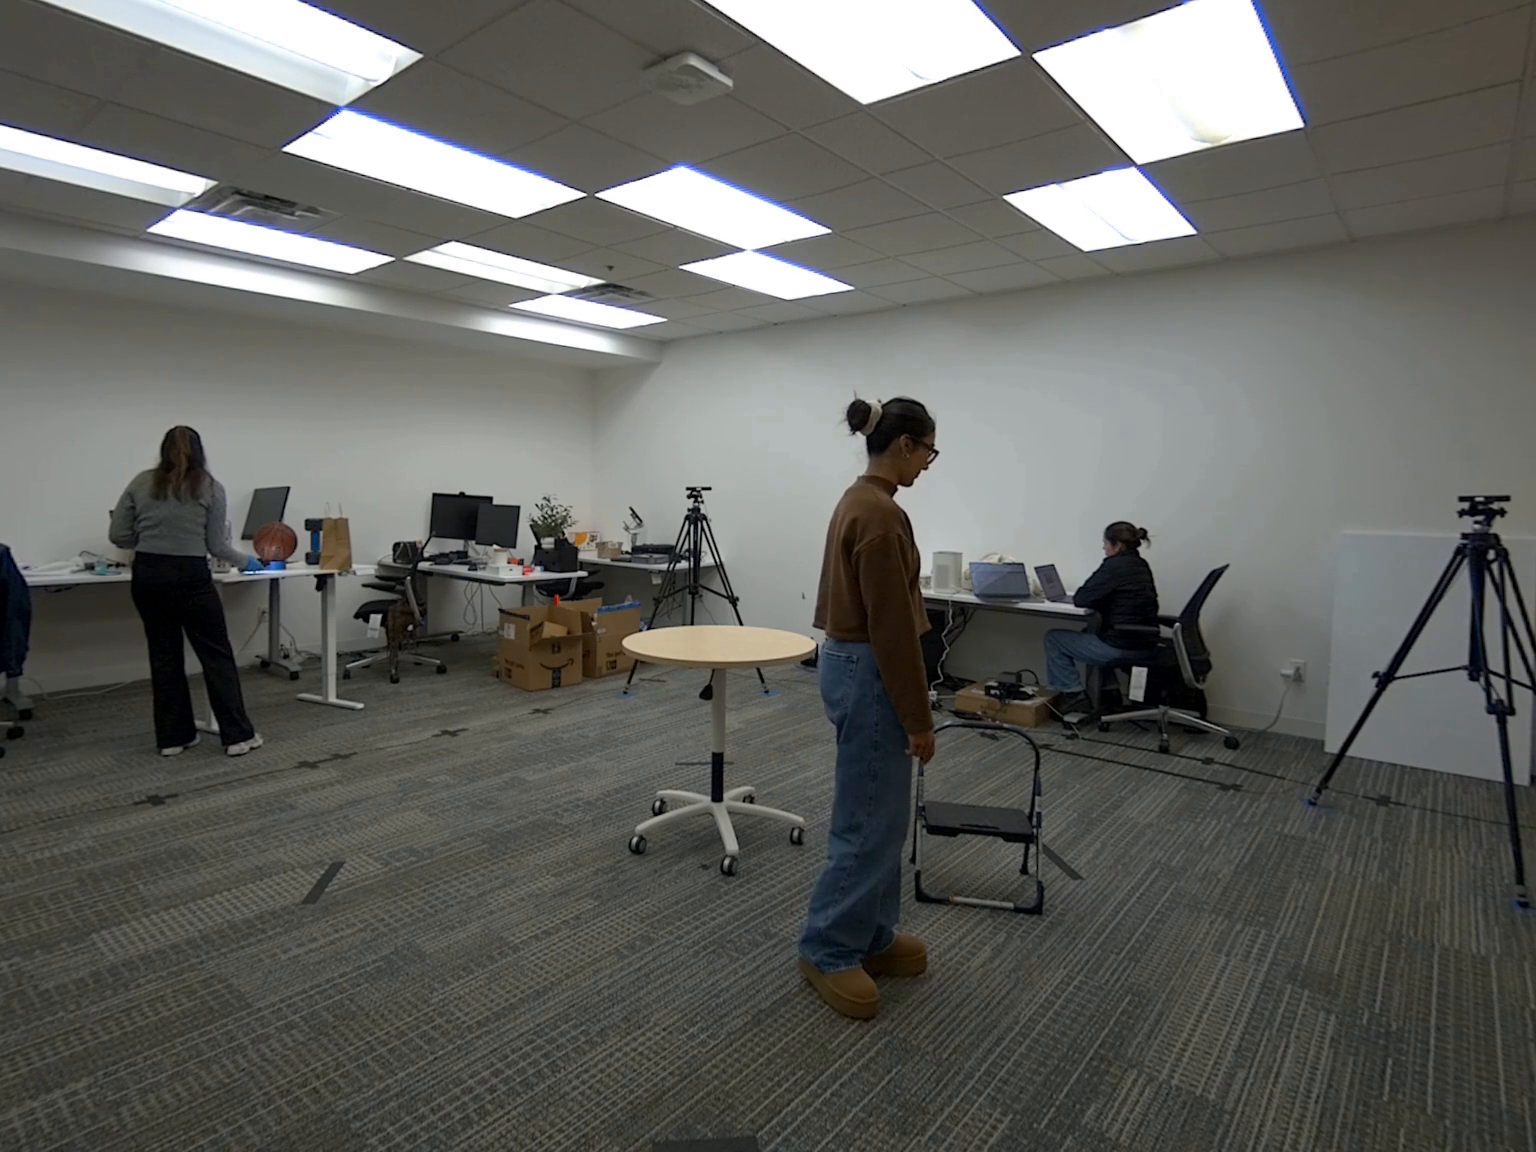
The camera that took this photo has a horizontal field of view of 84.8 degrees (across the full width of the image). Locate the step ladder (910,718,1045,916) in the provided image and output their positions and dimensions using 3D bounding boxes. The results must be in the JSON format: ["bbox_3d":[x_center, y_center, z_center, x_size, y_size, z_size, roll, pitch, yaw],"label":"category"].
[{"bbox_3d":[0.727,0.793,3.002,0.435,0.604,0.346,2,3,9],"label":"step ladder"}]
